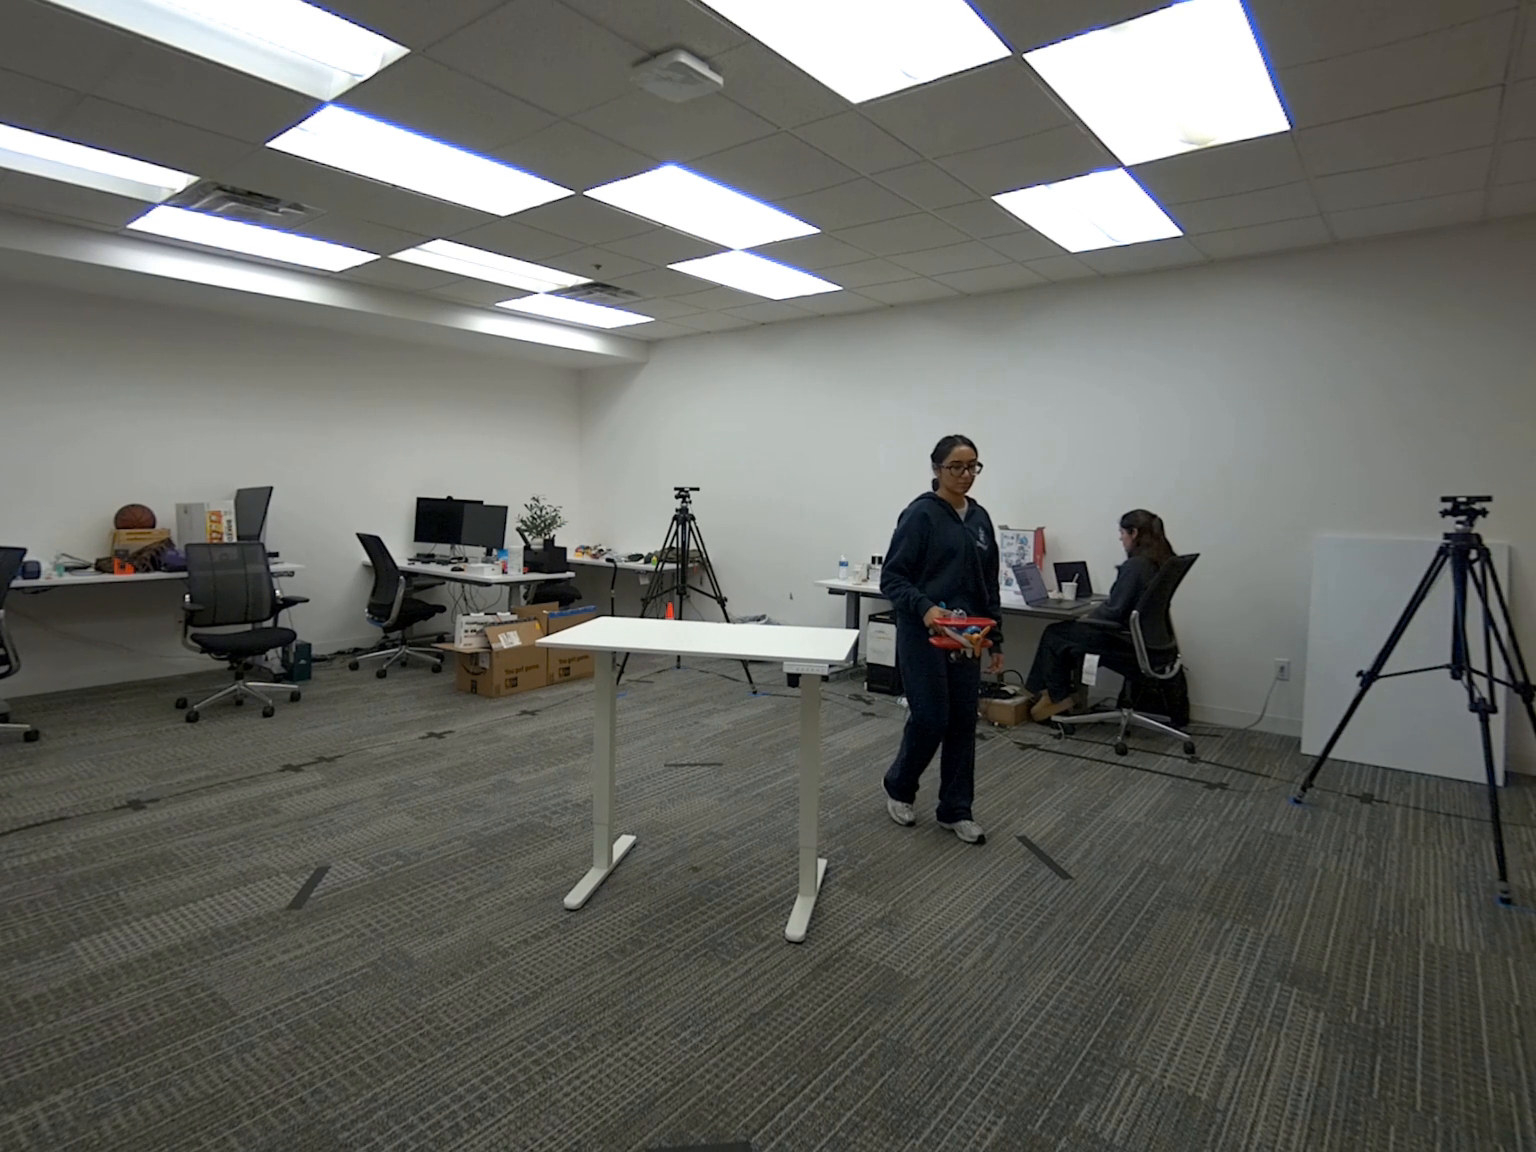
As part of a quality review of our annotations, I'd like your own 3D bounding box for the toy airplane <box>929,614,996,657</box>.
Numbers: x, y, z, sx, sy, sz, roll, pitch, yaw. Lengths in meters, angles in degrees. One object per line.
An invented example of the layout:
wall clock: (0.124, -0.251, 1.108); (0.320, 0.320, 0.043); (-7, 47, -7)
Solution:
toy airplane: (0.684, 0.203, 3.178); (0.269, 0.154, 0.245); (30, 31, 34)
